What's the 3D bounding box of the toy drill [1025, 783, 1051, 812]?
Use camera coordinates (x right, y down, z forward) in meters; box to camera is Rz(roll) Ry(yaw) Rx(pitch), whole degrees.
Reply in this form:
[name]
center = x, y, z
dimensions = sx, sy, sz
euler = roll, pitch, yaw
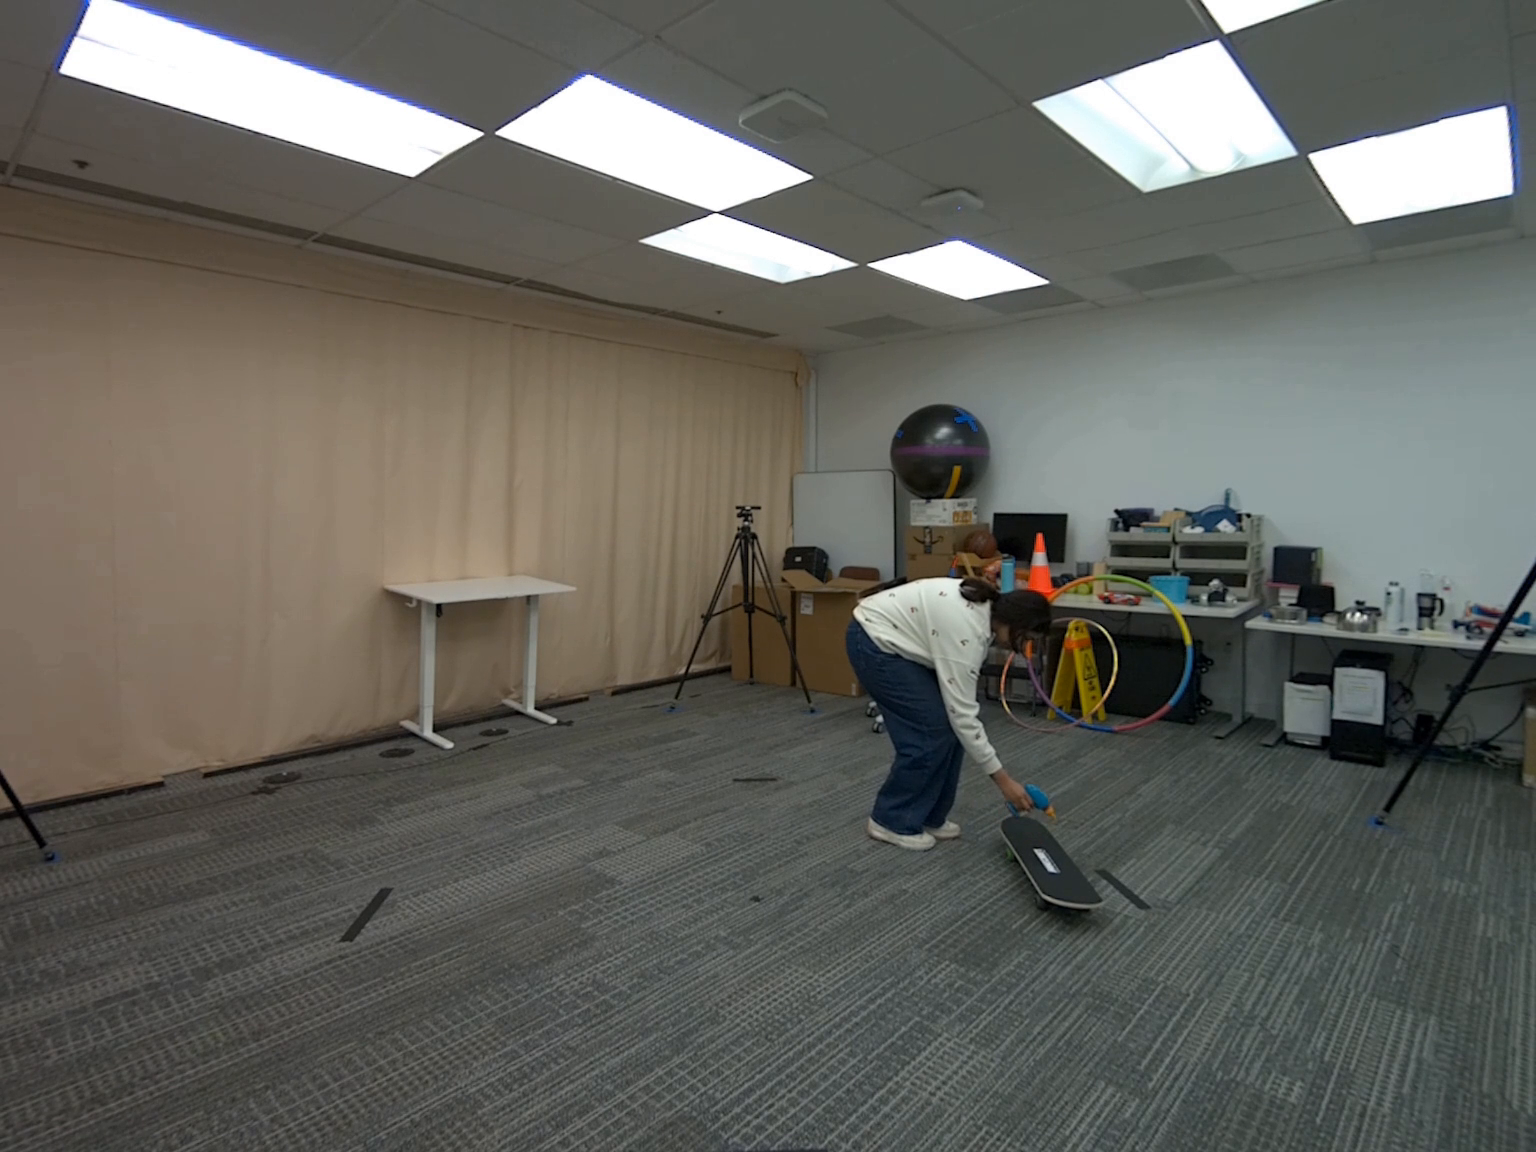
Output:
[toy drill]
center = 1.021, 0.891, 3.226
dimensions = 0.147, 0.170, 0.061
euler = -40, 0, 18
